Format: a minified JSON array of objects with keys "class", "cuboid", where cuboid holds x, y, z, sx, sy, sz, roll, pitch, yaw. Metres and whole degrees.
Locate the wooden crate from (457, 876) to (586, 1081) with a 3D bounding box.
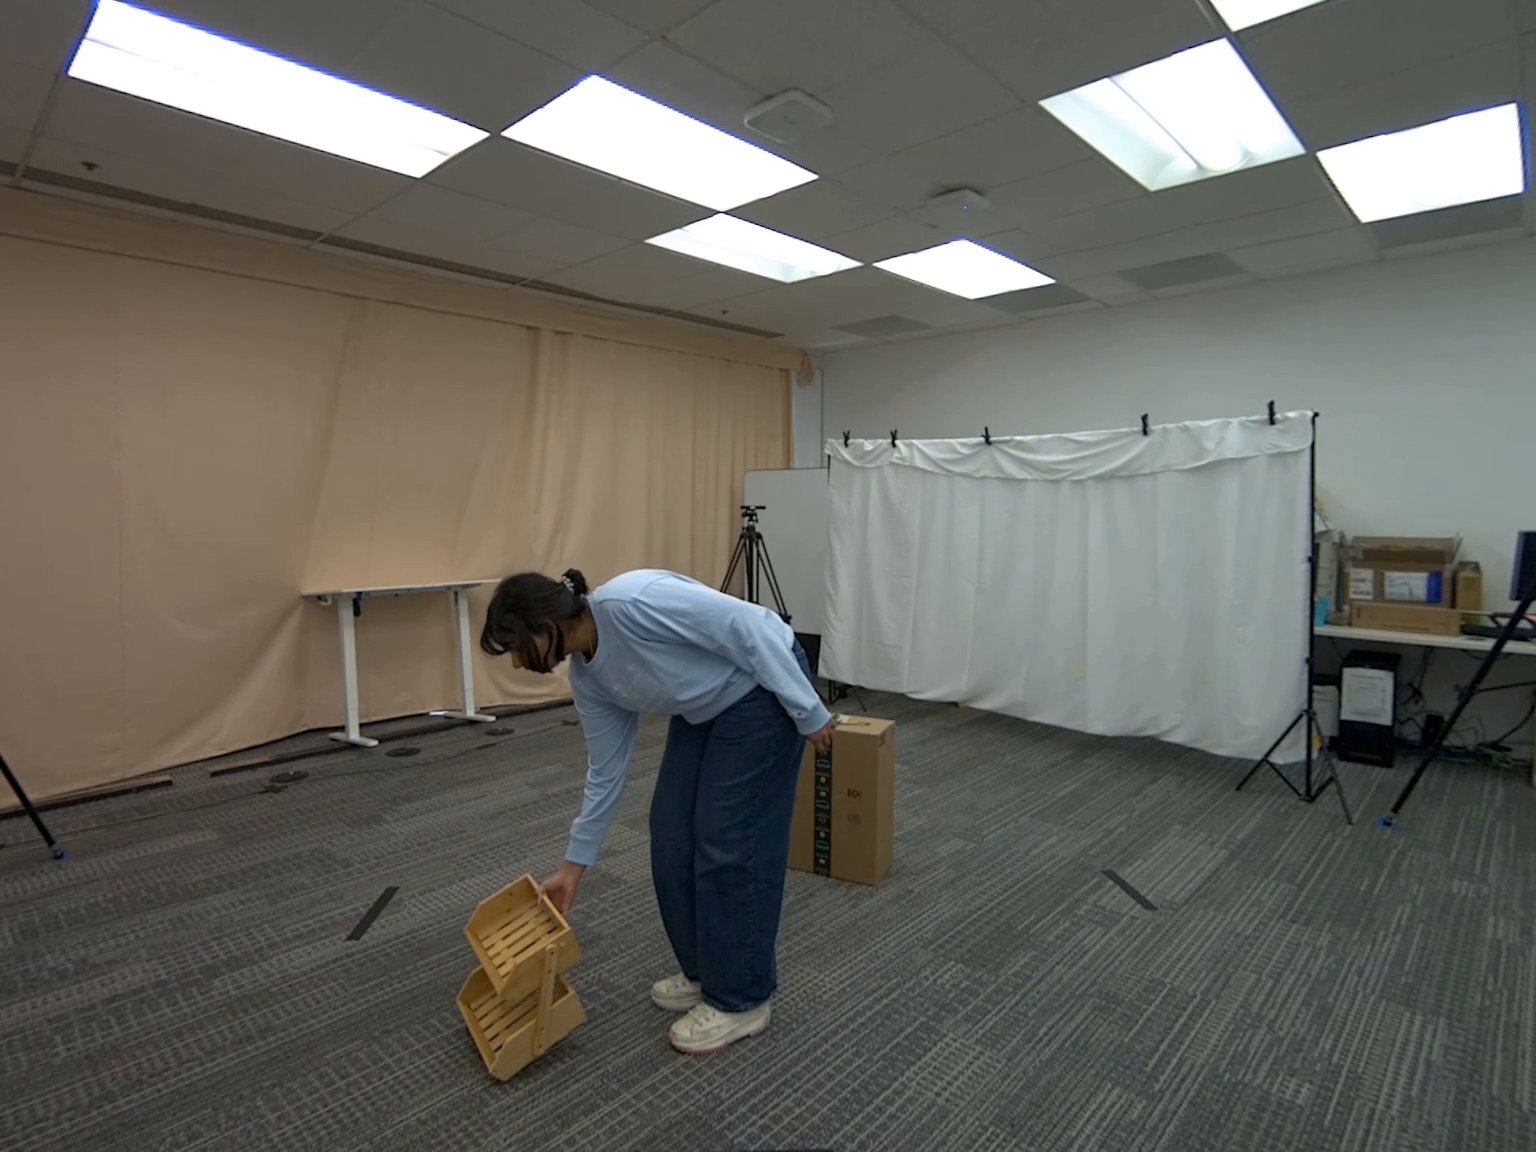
[{"class":"wooden crate","cuboid":[-0.656,1.023,2.153,0.297,0.269,0.335,-27,23,-29]}]
